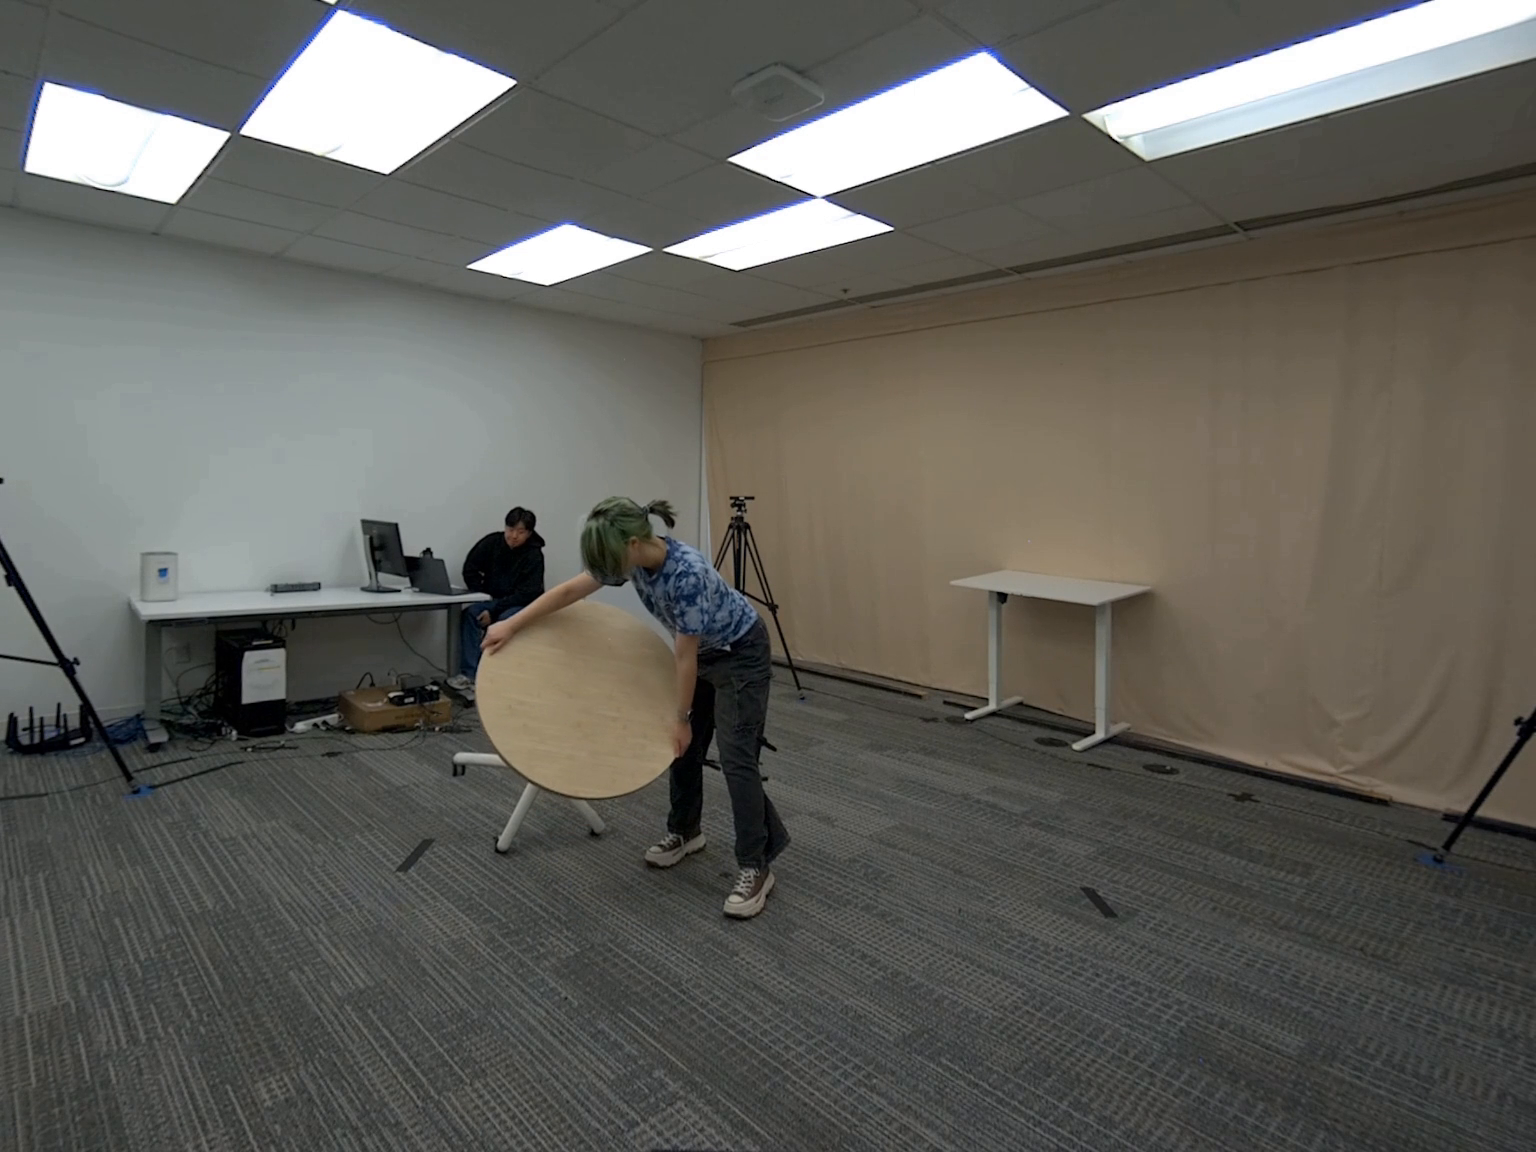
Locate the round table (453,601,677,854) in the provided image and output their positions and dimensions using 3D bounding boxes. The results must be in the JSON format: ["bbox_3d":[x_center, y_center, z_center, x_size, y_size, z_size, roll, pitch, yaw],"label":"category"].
[{"bbox_3d":[-0.804,0.619,3.229,0.748,0.783,0.790,-1,-35,-31],"label":"round table"}]
